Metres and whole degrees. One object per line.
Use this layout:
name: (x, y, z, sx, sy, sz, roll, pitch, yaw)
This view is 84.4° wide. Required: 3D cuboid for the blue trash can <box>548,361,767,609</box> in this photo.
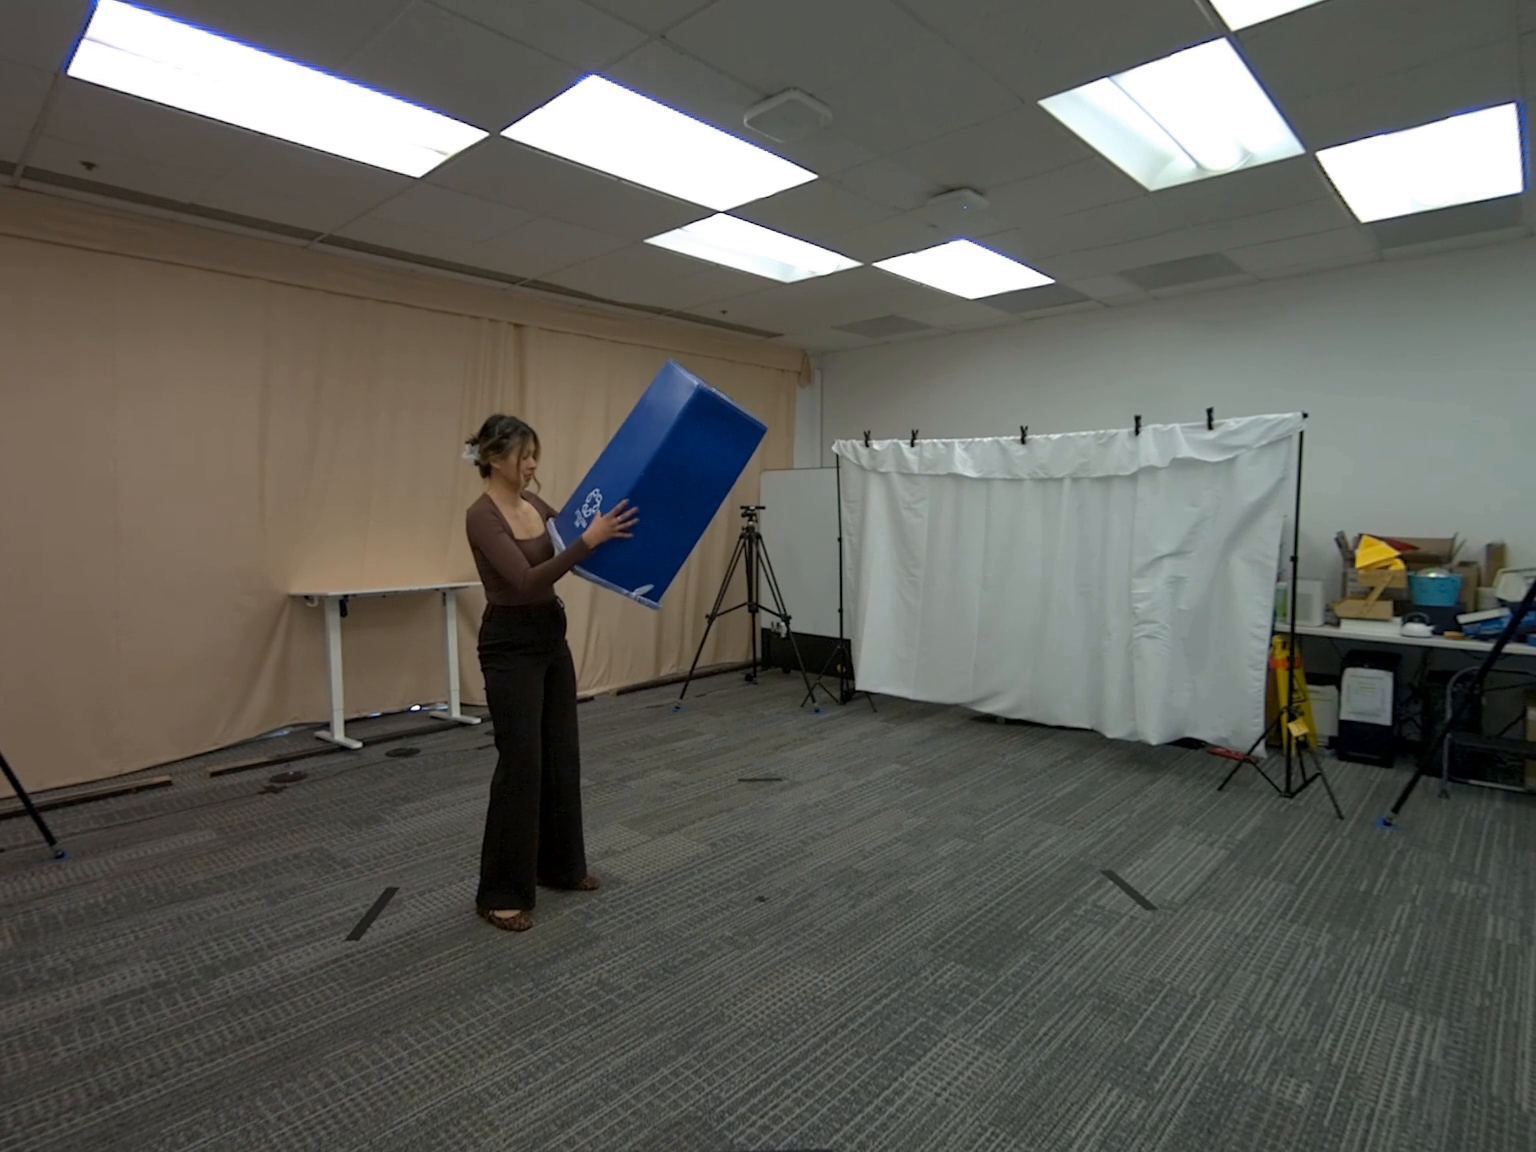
blue trash can: (-0.365, -0.304, 2.819, 0.365, 0.714, 0.387, 28, 13, -36)
